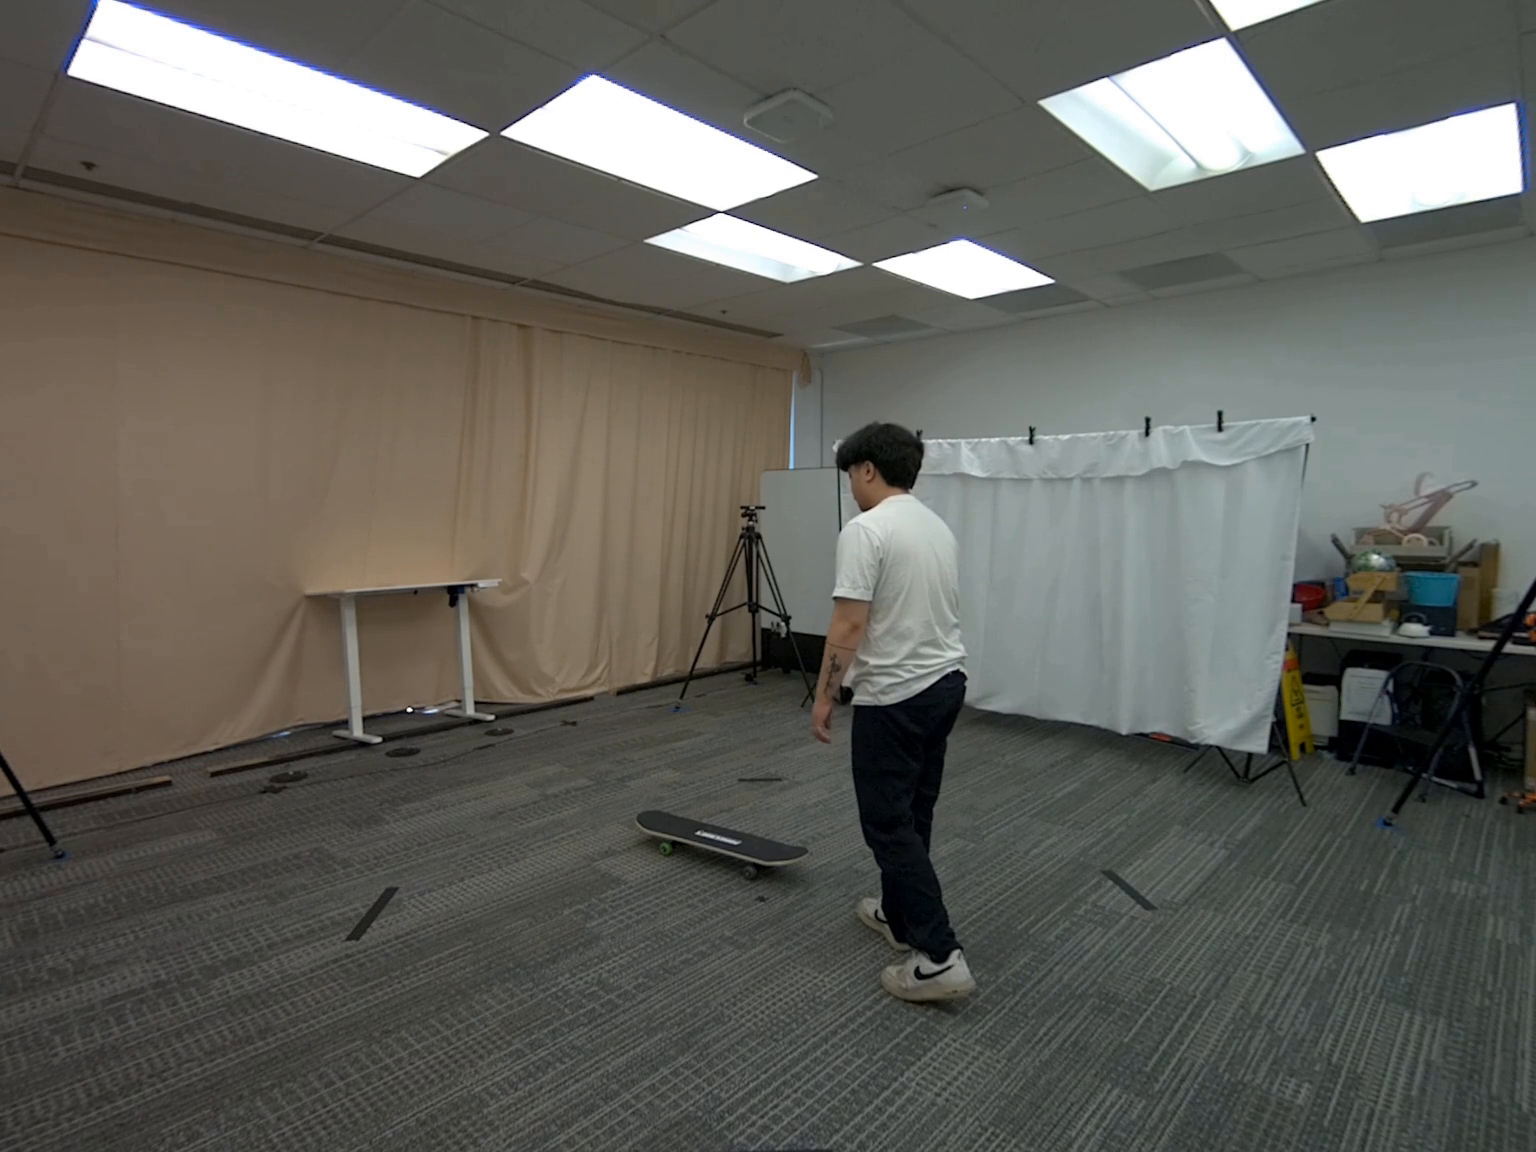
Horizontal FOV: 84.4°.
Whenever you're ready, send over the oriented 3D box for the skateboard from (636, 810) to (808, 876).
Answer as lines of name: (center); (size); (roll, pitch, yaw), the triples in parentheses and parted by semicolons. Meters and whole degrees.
skateboard: (-0.194, 1.059, 3.317); (0.809, 0.110, 0.188); (3, 5, 33)
